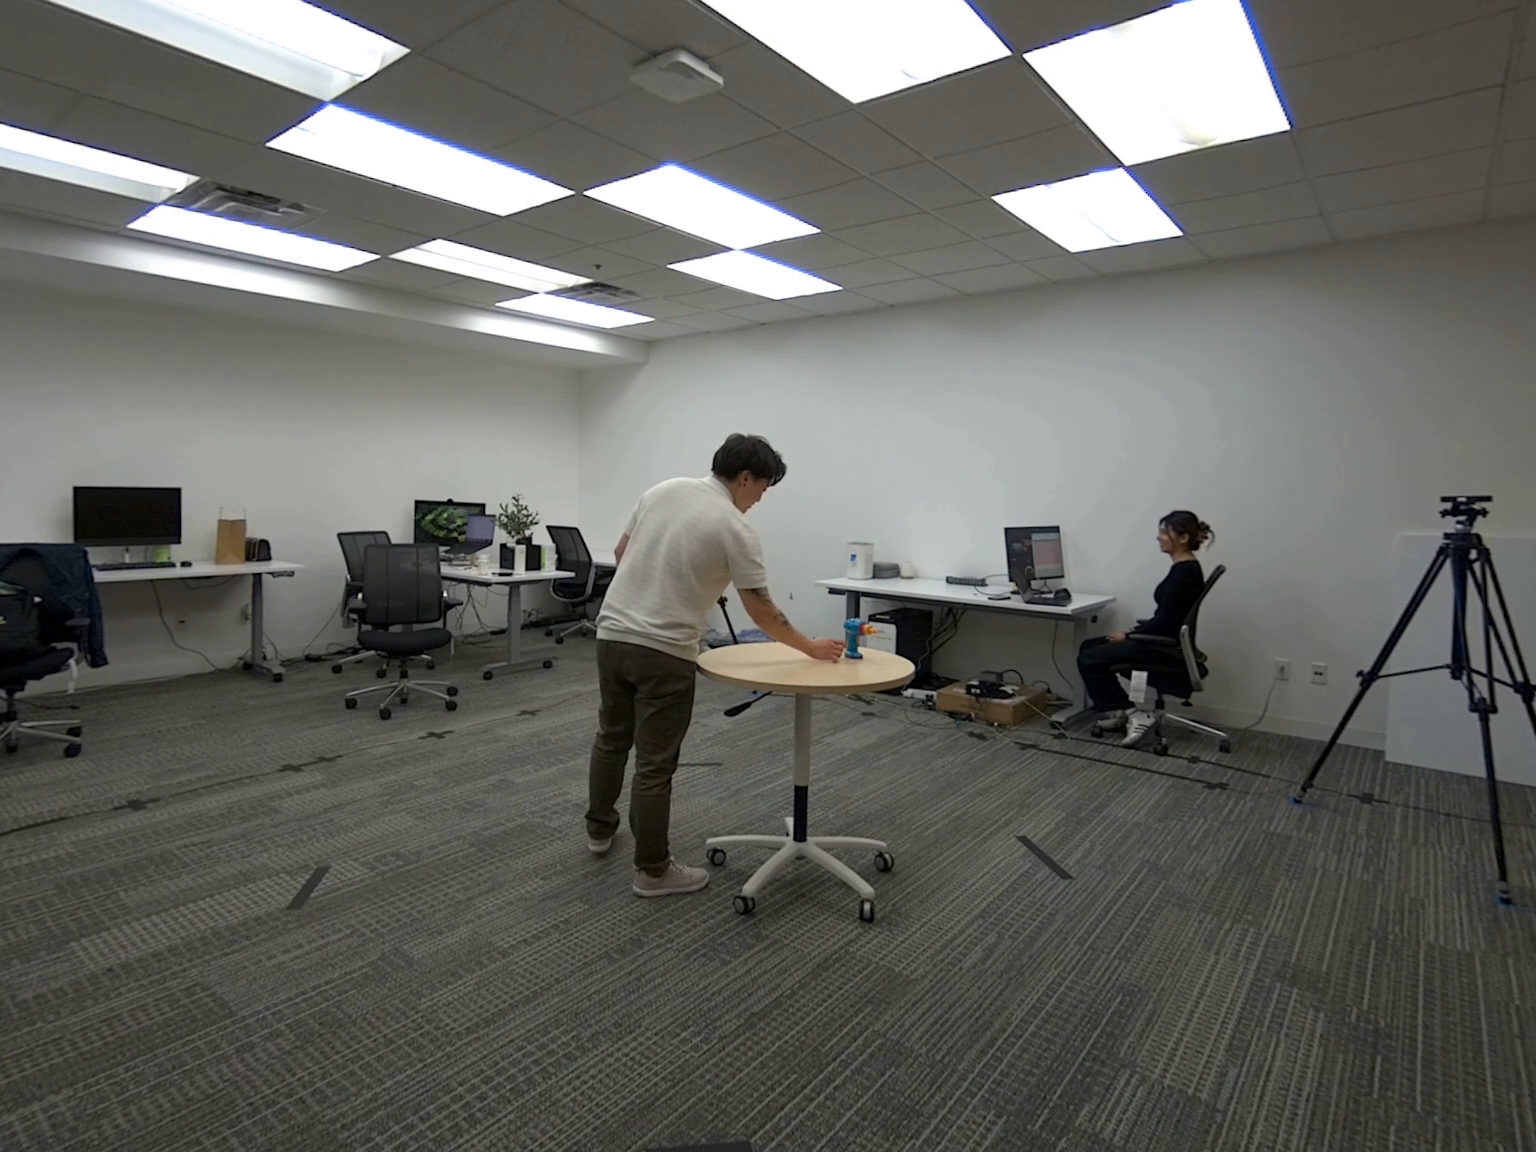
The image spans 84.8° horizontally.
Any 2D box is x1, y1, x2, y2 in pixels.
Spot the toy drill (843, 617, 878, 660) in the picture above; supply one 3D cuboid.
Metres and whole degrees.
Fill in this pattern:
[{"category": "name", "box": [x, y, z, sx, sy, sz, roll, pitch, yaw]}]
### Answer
[{"category": "toy drill", "box": [0.325, 0.226, 3.057, 0.059, 0.146, 0.175, 0, 4, -33]}]
